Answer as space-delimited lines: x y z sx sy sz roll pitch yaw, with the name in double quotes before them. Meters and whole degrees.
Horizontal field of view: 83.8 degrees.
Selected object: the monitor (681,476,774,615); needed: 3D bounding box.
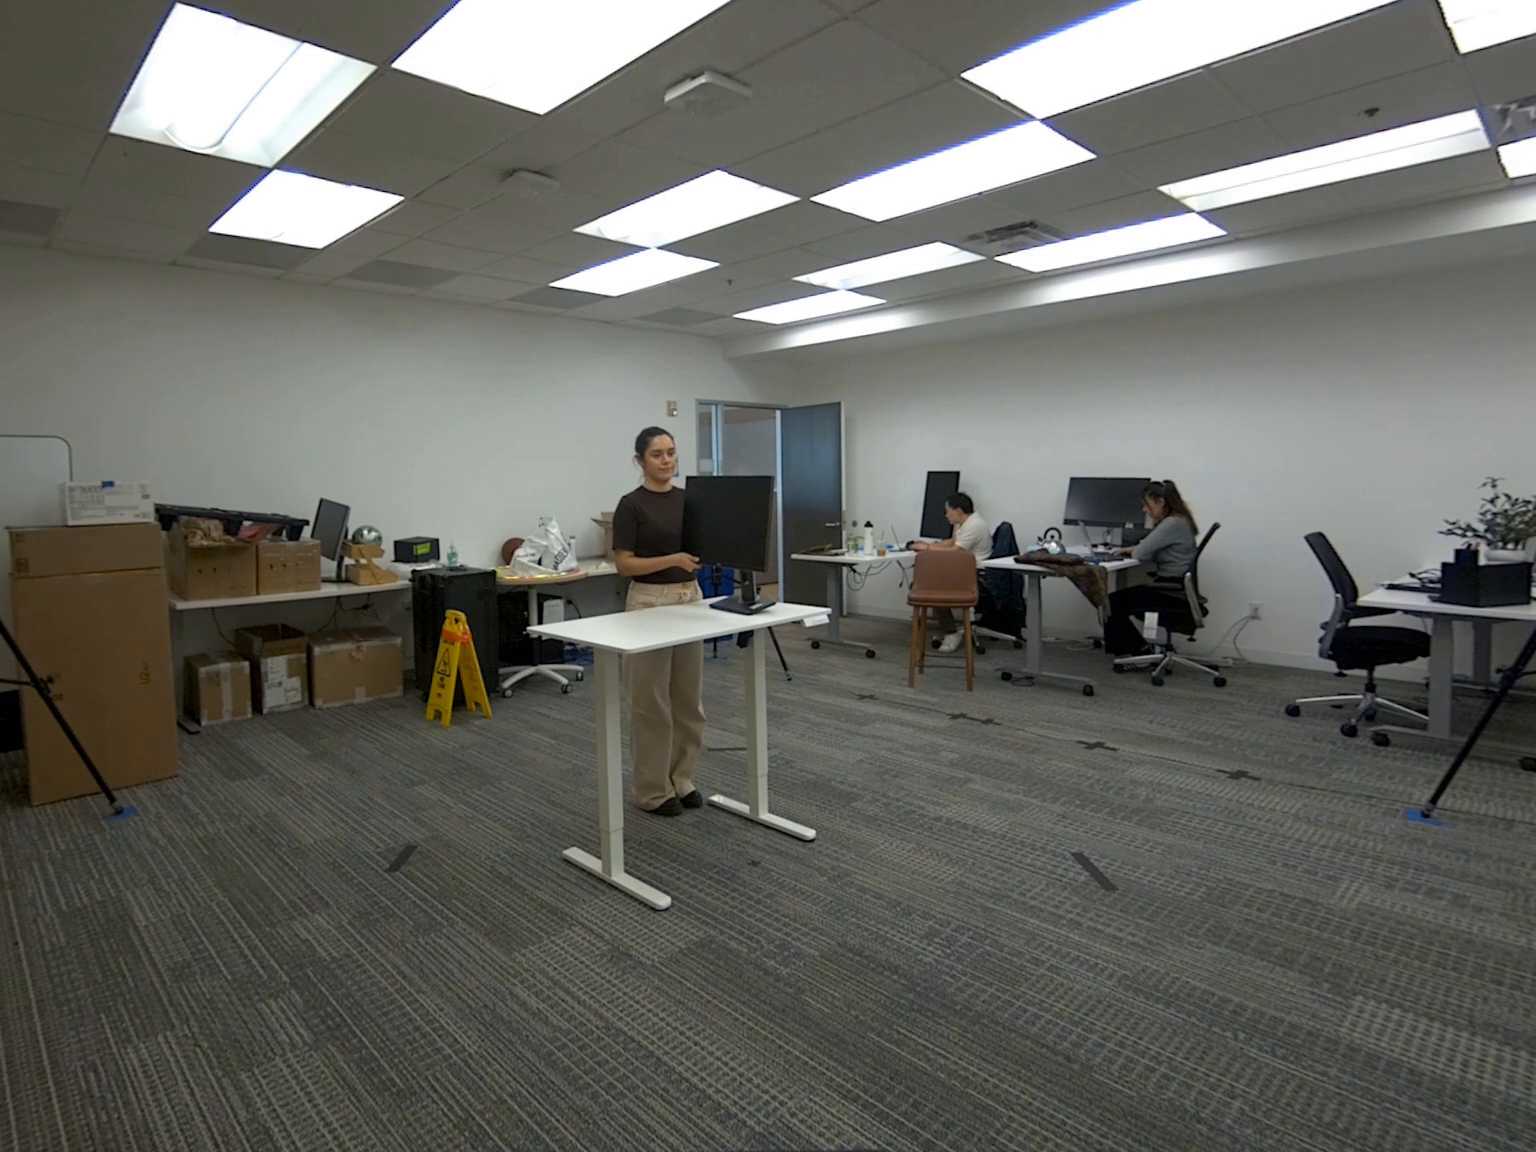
"monitor" -0.135 -0.129 3.320 0.183 0.517 0.556 -14 13 -37
